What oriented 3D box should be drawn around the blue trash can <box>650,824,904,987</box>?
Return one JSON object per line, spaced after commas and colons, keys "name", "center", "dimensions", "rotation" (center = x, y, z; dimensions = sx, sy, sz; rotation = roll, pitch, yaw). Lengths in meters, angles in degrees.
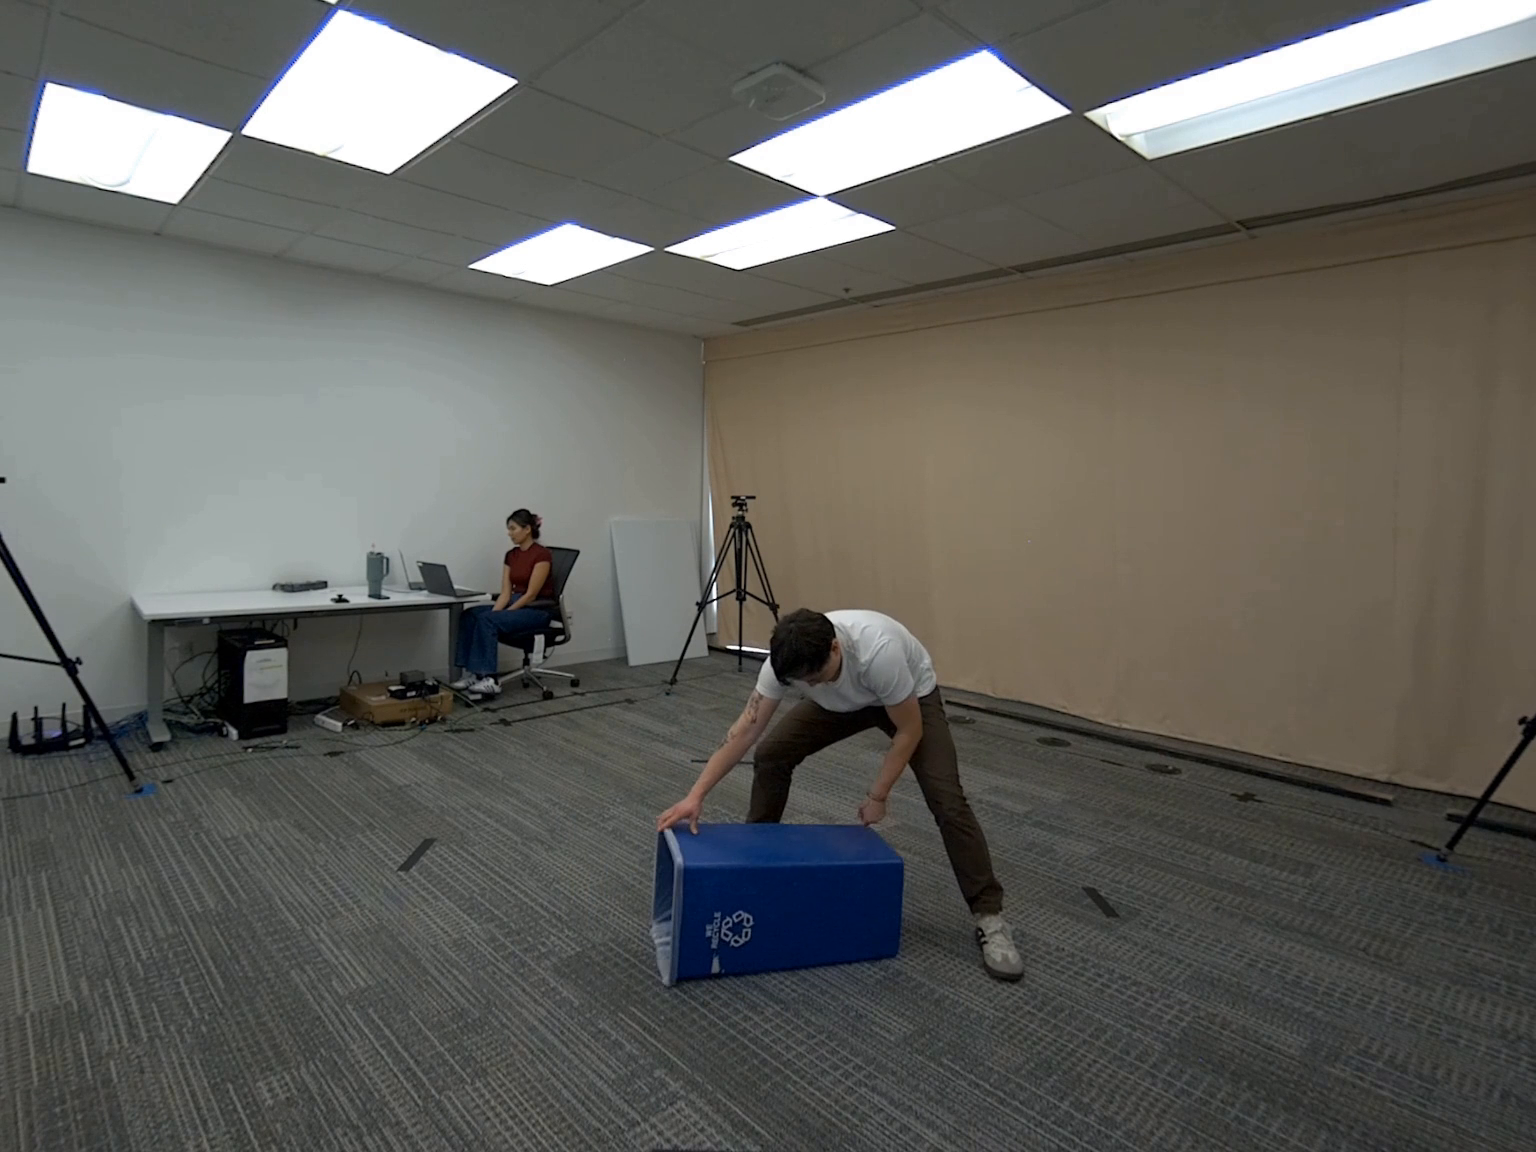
{"name": "blue trash can", "center": [0.022, 0.980, 2.597], "dimensions": [0.706, 0.378, 0.378], "rotation": [2, 2, -13]}
